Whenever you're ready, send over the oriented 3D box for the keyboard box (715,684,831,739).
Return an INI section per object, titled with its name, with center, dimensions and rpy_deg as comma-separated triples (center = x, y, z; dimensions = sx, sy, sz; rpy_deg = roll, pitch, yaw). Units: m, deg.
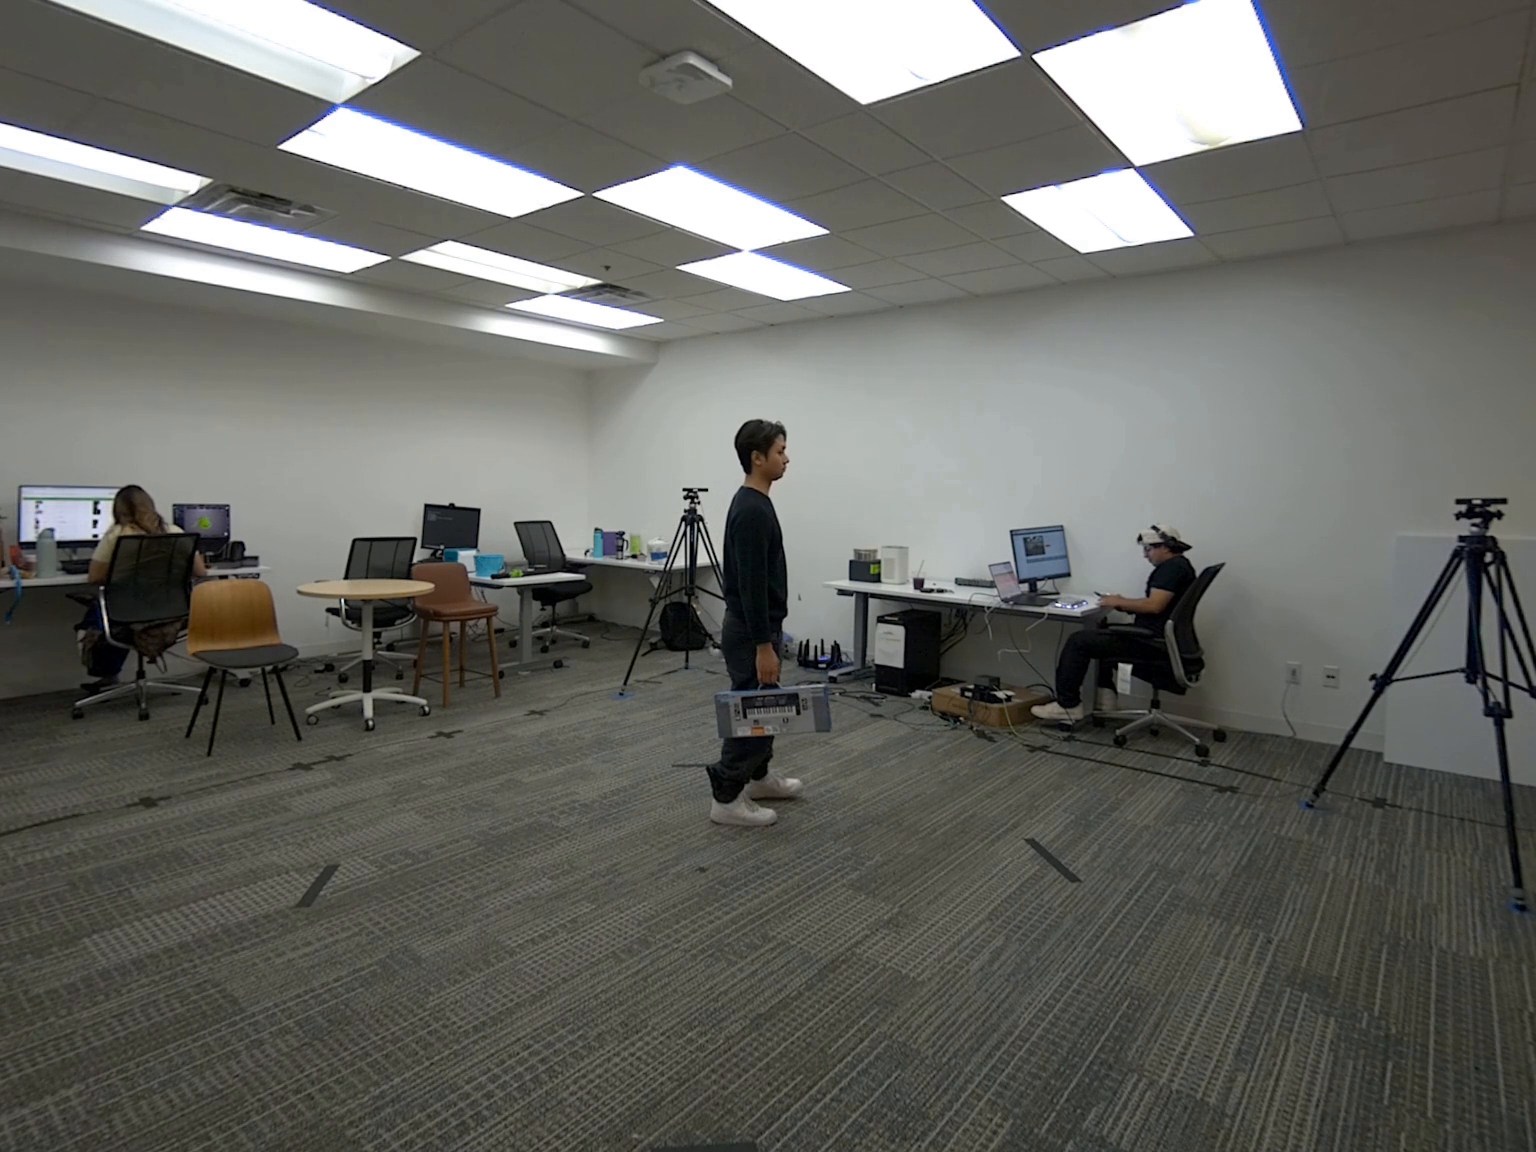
[keyboard box]
center = 0.011, 0.519, 3.282
dimensions = 0.442, 0.176, 0.058
rpy_deg = -6, -1, 14
